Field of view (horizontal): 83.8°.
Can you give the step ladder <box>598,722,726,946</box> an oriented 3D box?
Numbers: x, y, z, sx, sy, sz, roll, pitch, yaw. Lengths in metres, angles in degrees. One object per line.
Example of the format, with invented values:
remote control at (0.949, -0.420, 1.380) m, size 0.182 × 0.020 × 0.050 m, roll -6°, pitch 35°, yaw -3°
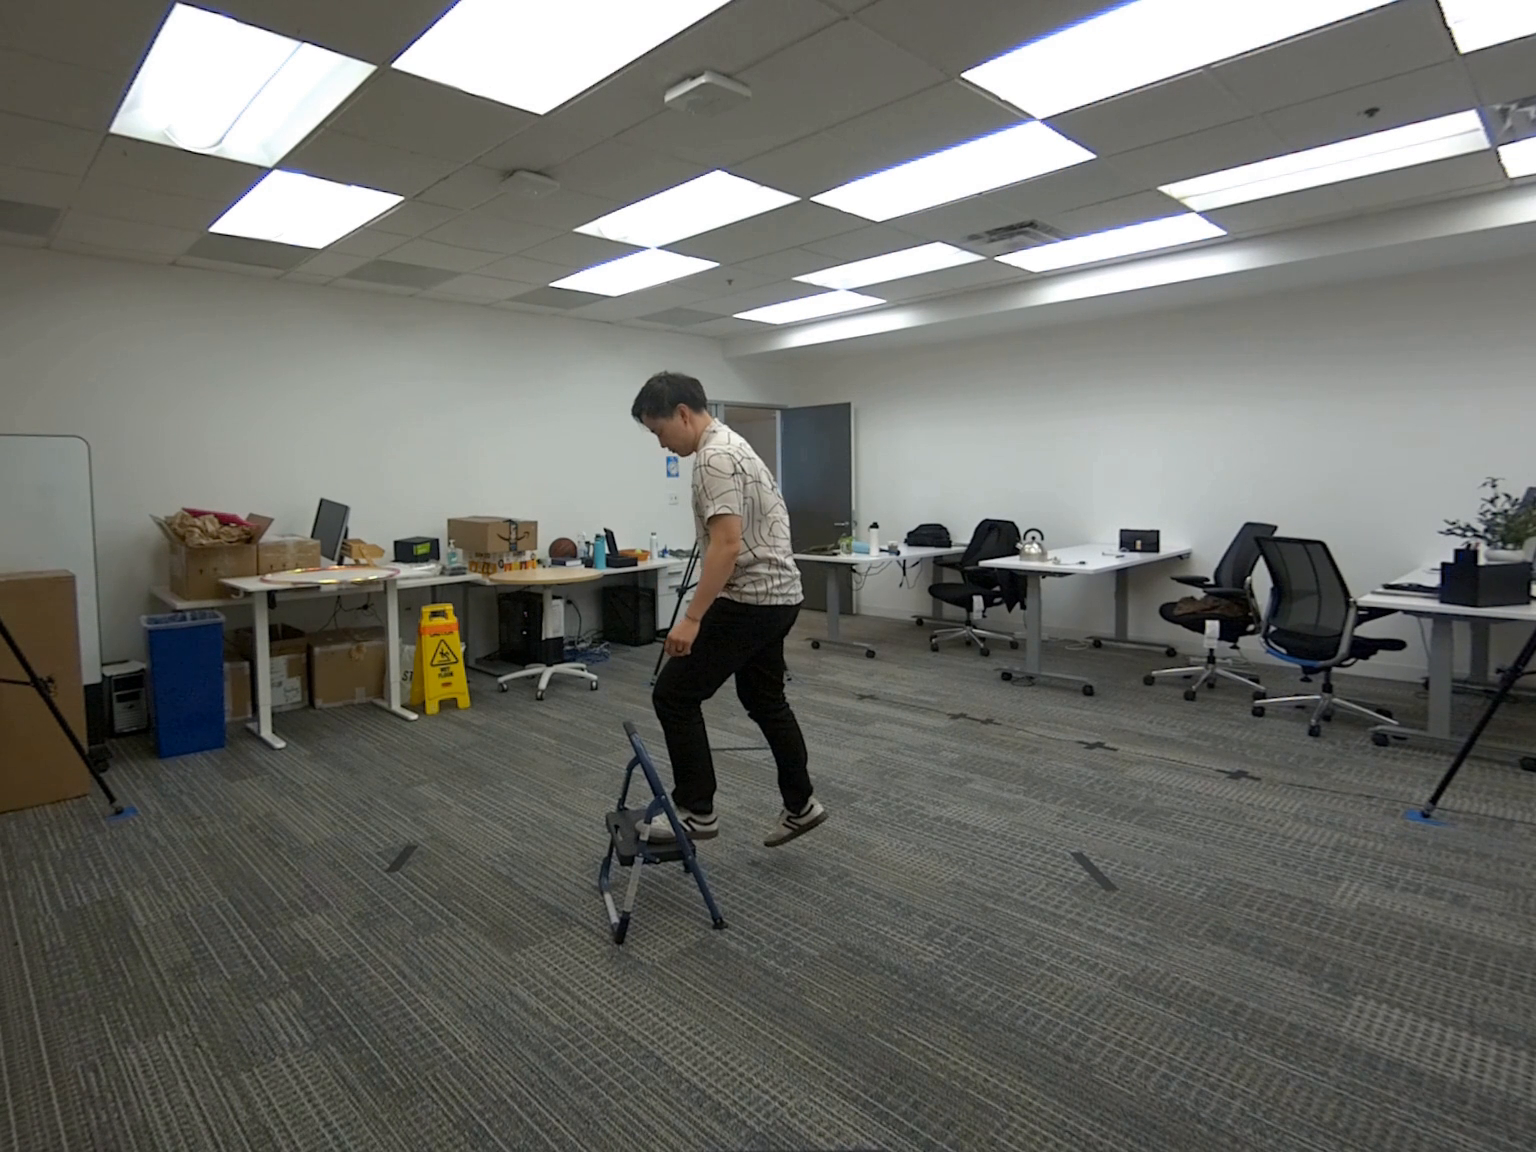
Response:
step ladder at (-0.365, 0.784, 2.797) m, size 0.344 × 0.604 × 0.439 m, roll -3°, pitch 5°, yaw -18°
